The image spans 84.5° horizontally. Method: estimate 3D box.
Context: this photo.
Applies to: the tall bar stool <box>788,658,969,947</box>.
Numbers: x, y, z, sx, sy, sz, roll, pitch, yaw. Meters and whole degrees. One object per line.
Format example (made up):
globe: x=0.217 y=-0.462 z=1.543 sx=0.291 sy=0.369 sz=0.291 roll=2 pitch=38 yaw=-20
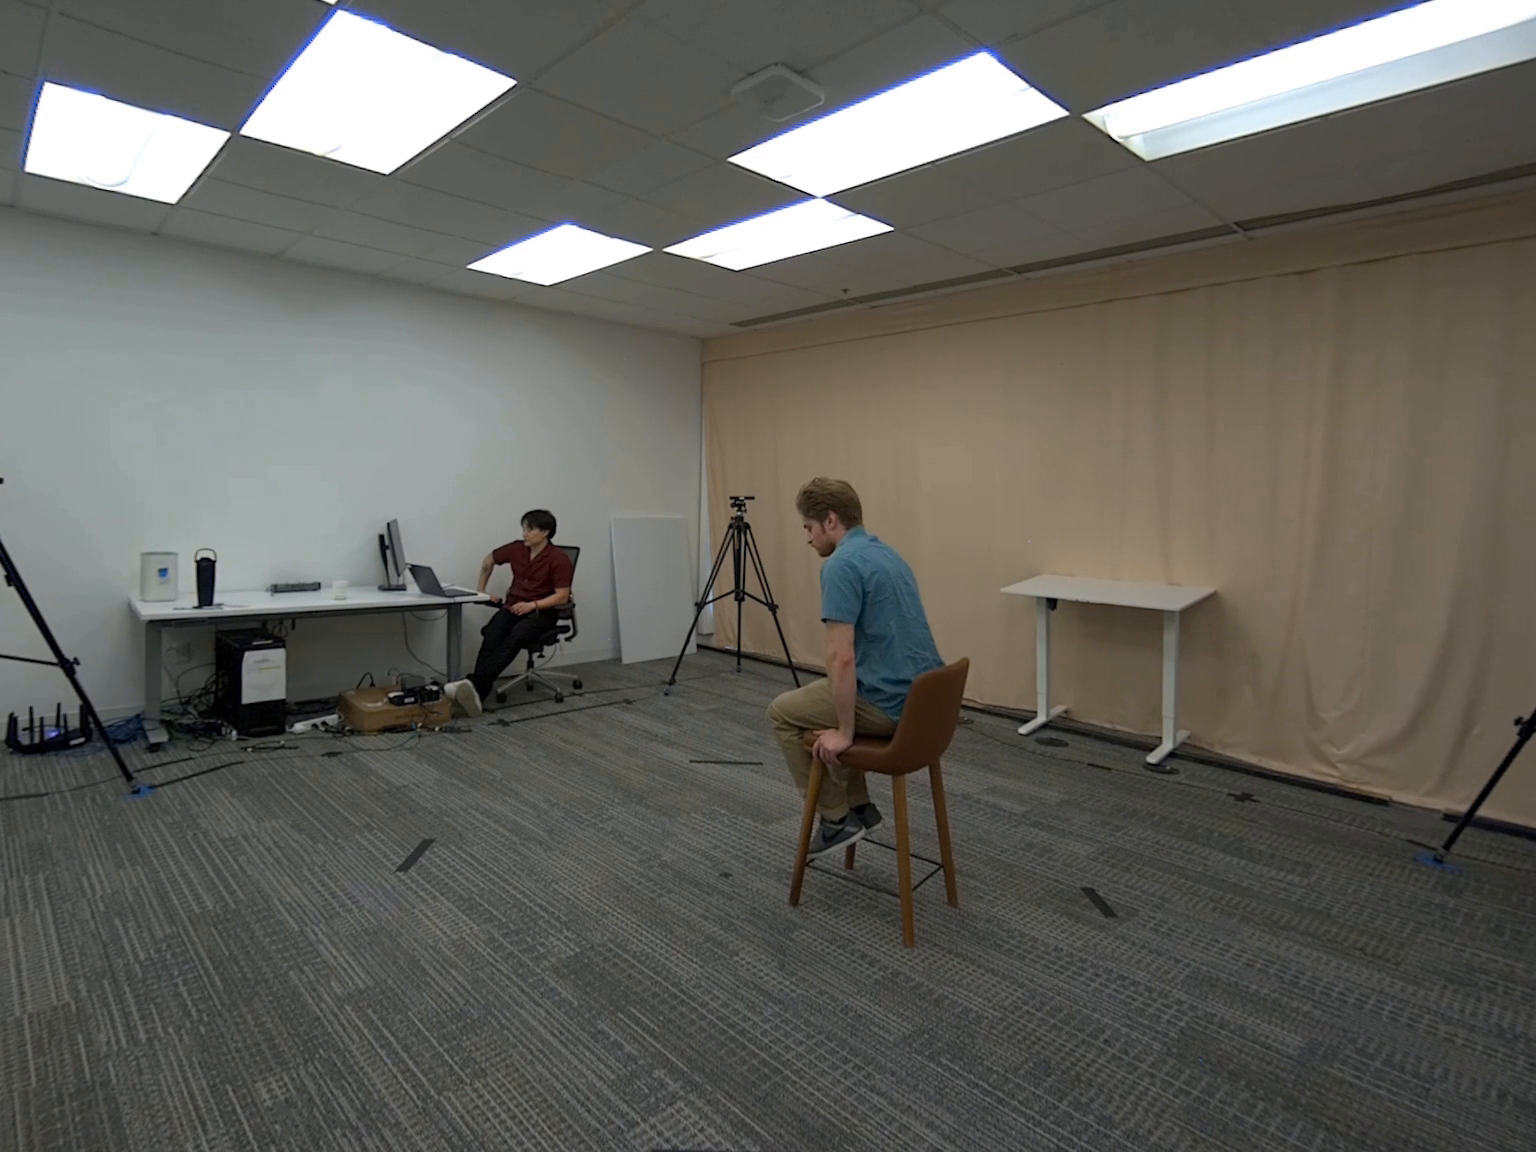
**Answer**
tall bar stool: x=0.383 y=0.702 z=2.877 sx=0.479 sy=0.886 sz=0.447 roll=7 pitch=7 yaw=37
